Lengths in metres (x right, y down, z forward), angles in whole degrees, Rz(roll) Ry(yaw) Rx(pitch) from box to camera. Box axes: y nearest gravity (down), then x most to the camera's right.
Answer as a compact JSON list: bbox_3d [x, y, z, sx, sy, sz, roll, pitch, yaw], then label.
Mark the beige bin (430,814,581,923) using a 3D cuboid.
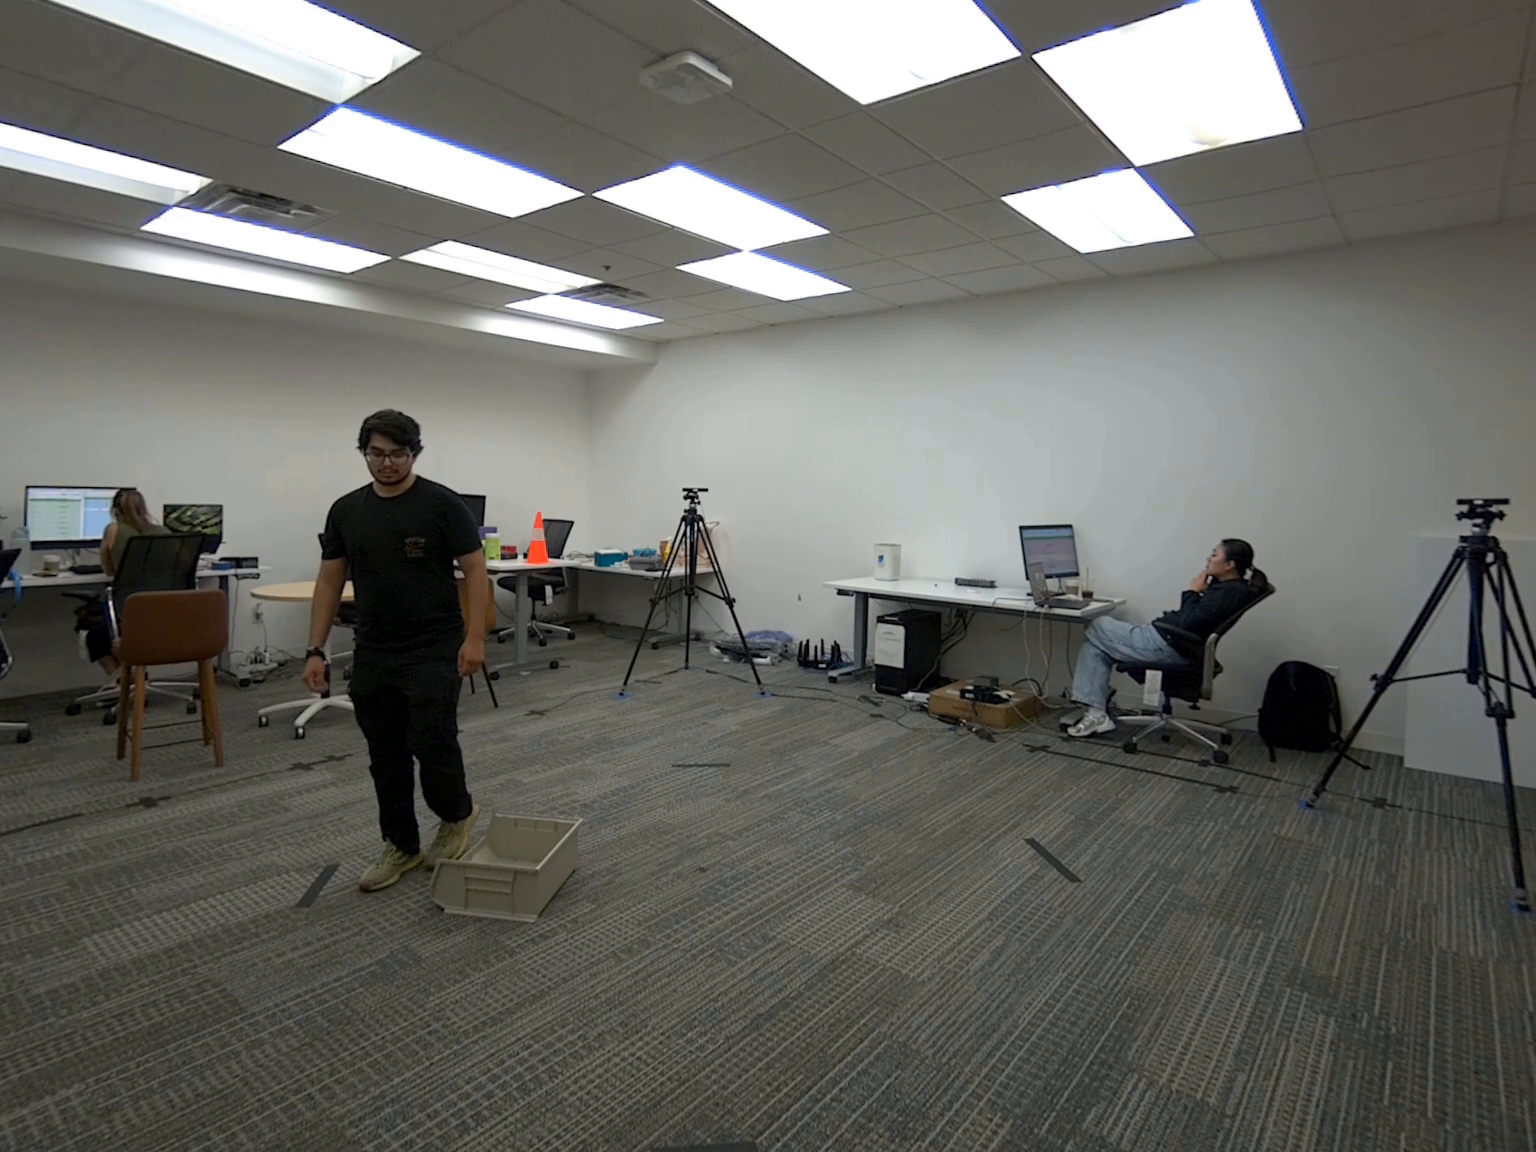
[{"bbox_3d":[-0.901,0.987,2.927,0.381,0.188,0.419,3,4,8],"label":"beige bin"}]
